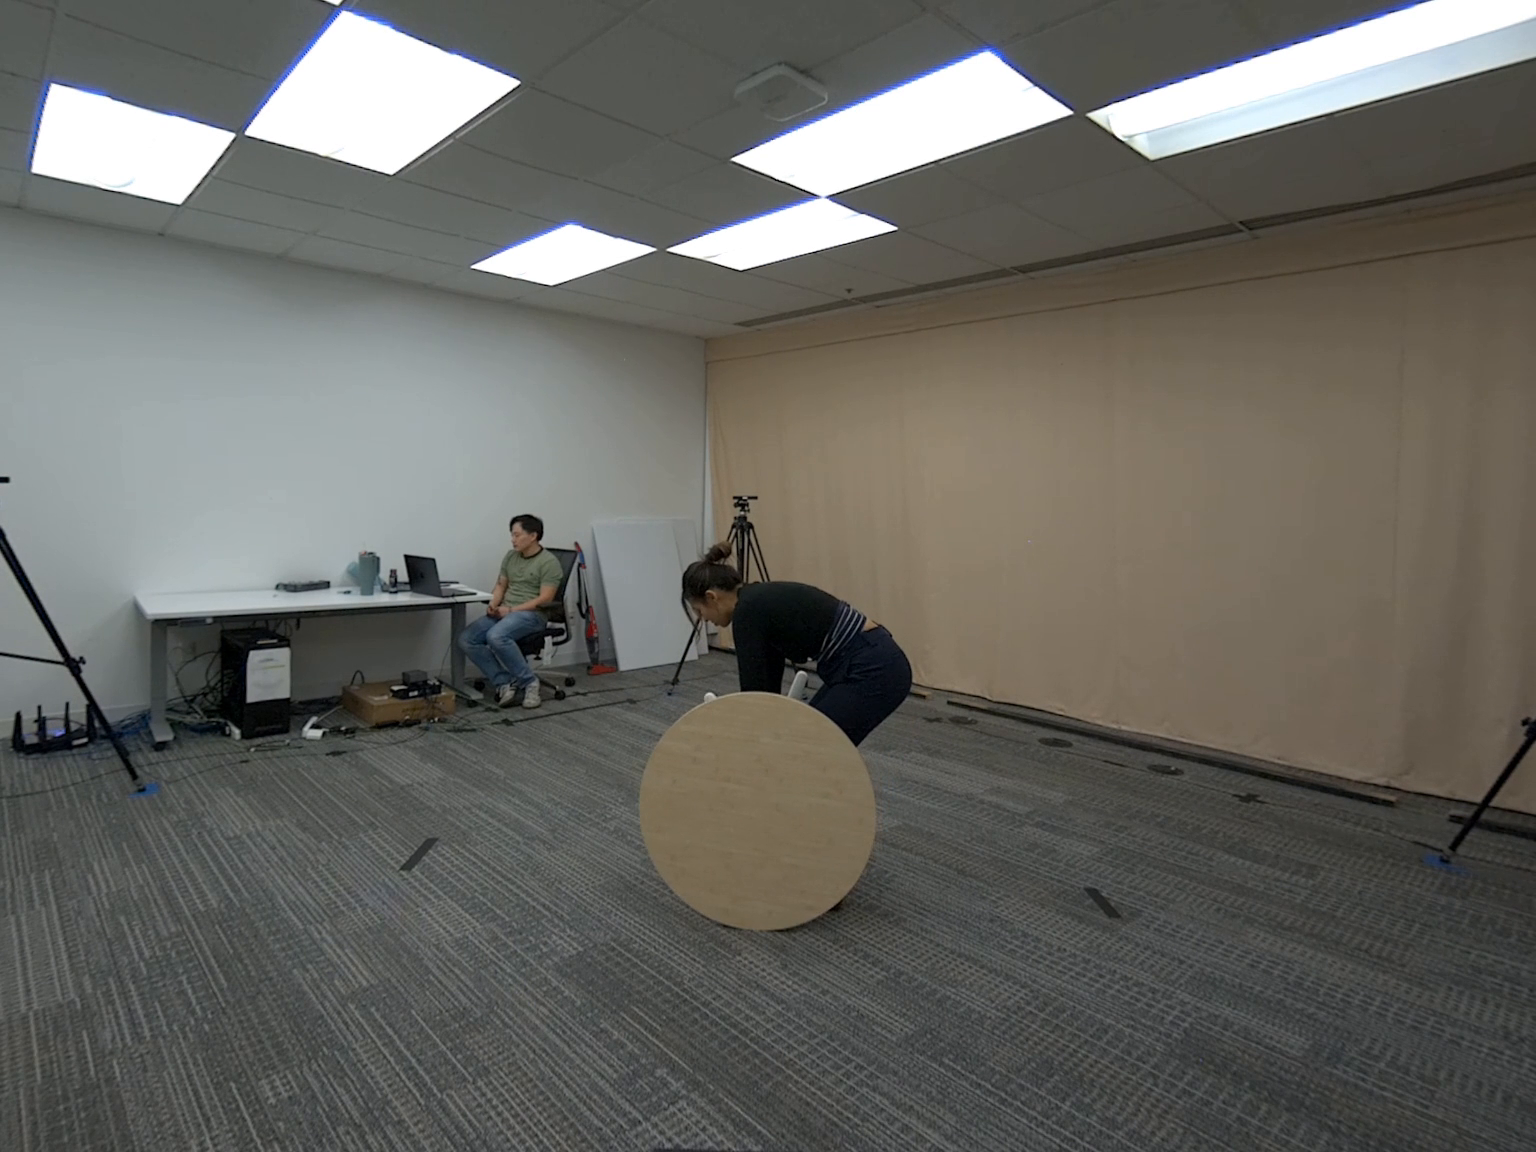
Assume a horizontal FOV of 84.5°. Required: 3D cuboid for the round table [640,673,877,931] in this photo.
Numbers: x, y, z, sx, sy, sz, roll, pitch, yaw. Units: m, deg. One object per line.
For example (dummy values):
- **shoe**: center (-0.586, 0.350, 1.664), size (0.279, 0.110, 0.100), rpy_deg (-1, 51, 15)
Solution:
- **round table**: center (-0.021, 0.732, 3.094), size (0.767, 0.763, 0.792), rpy_deg (2, 3, 4)
